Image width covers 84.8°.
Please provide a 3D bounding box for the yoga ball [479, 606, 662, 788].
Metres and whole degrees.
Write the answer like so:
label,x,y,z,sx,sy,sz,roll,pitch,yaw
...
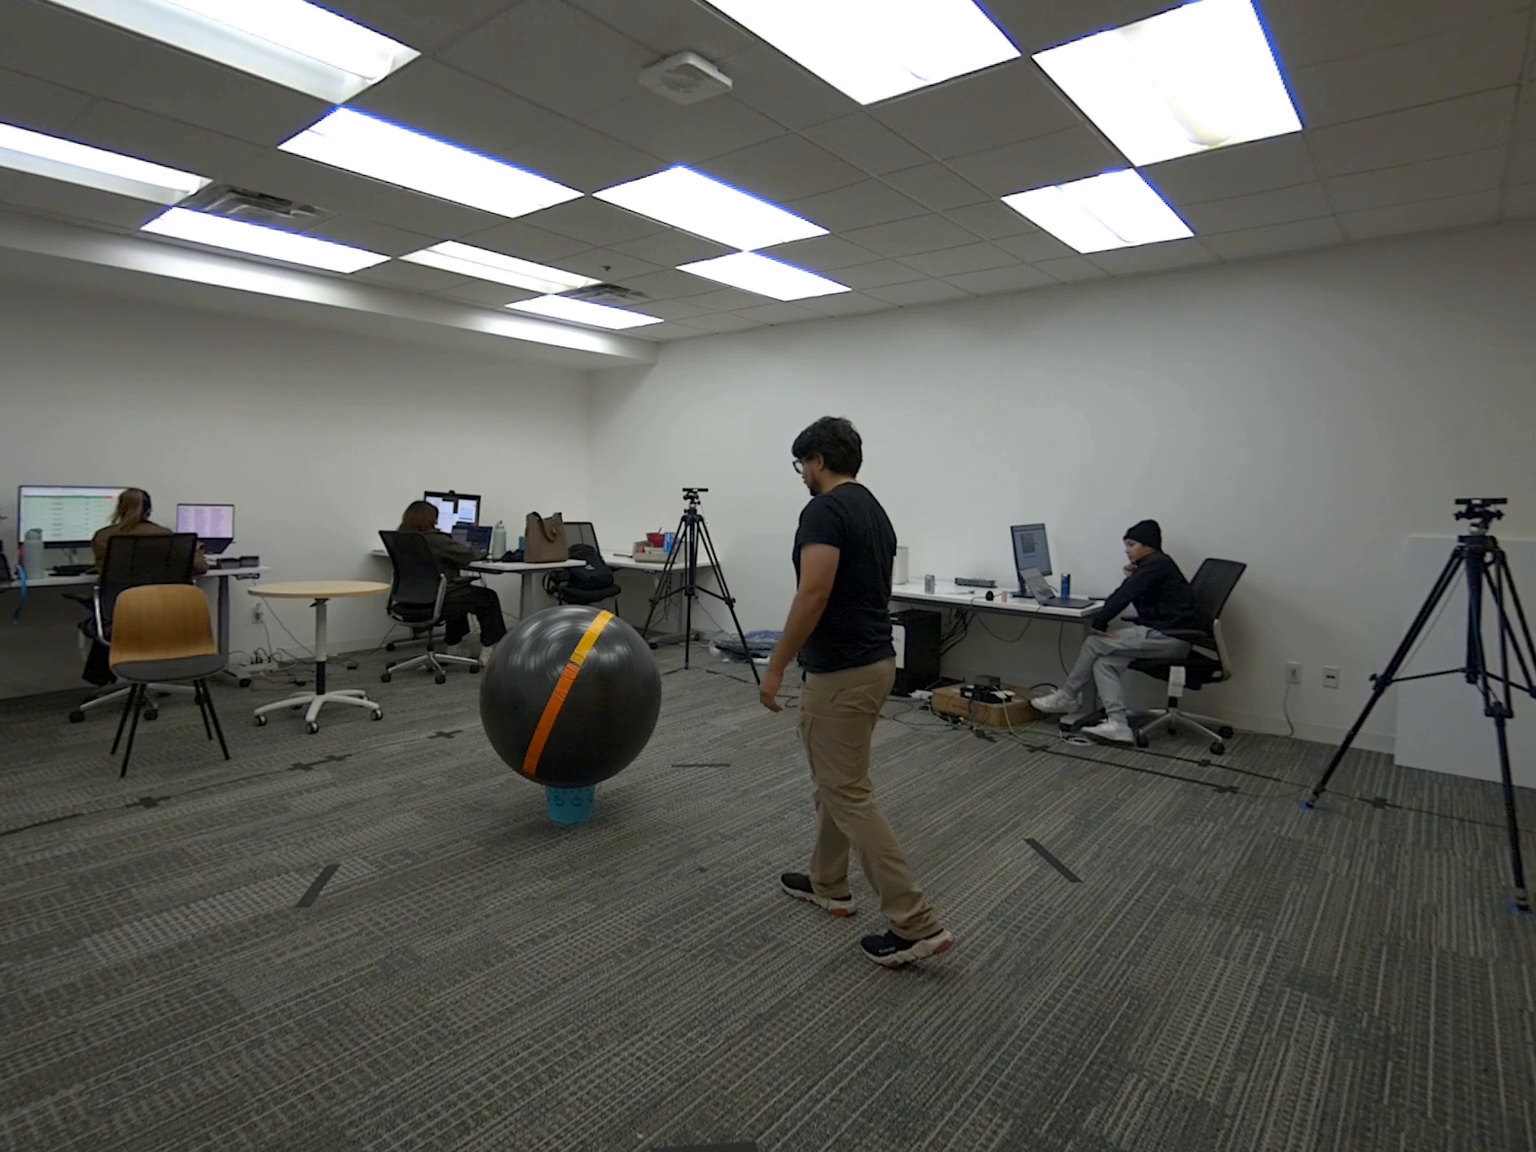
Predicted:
label,x,y,z,sx,sy,sz,roll,pitch,yaw
yoga ball,-0.843,0.503,3.593,0.757,0.755,0.762,1,4,-2
